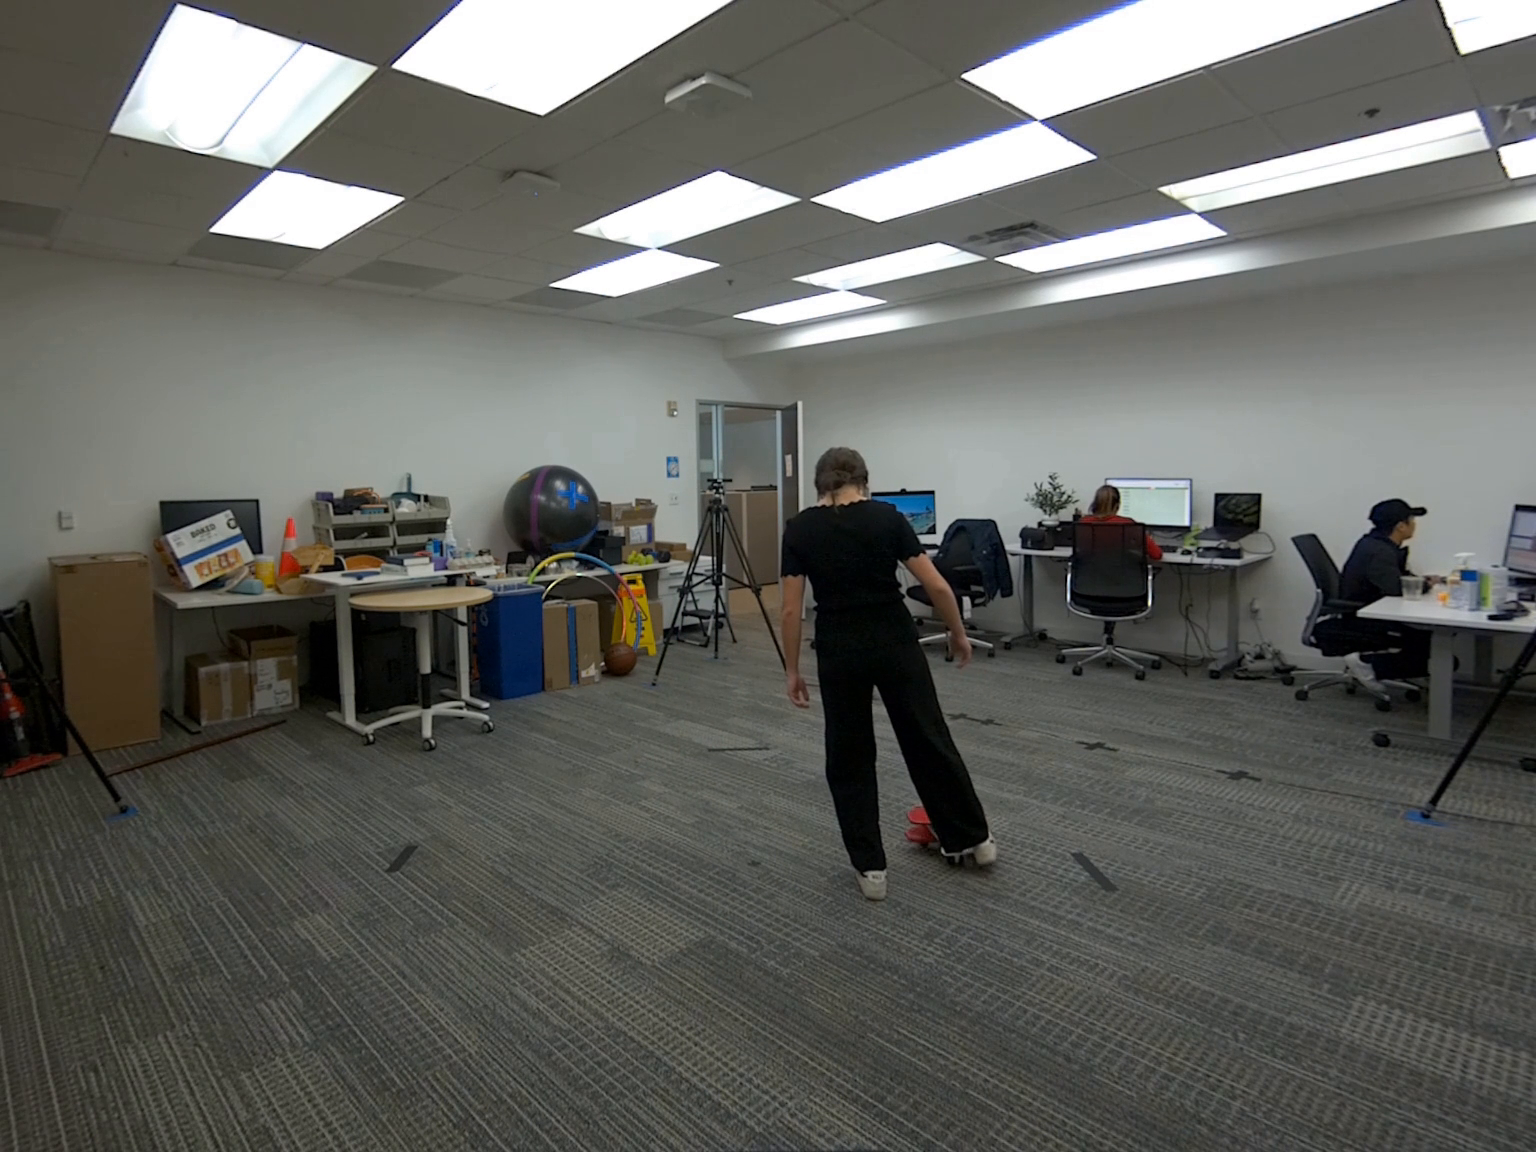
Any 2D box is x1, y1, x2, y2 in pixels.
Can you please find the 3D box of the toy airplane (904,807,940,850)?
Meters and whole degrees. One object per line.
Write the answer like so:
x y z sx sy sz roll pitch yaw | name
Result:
0.668 0.952 3.163 0.245 0.156 0.267 -6 7 -39 | toy airplane
